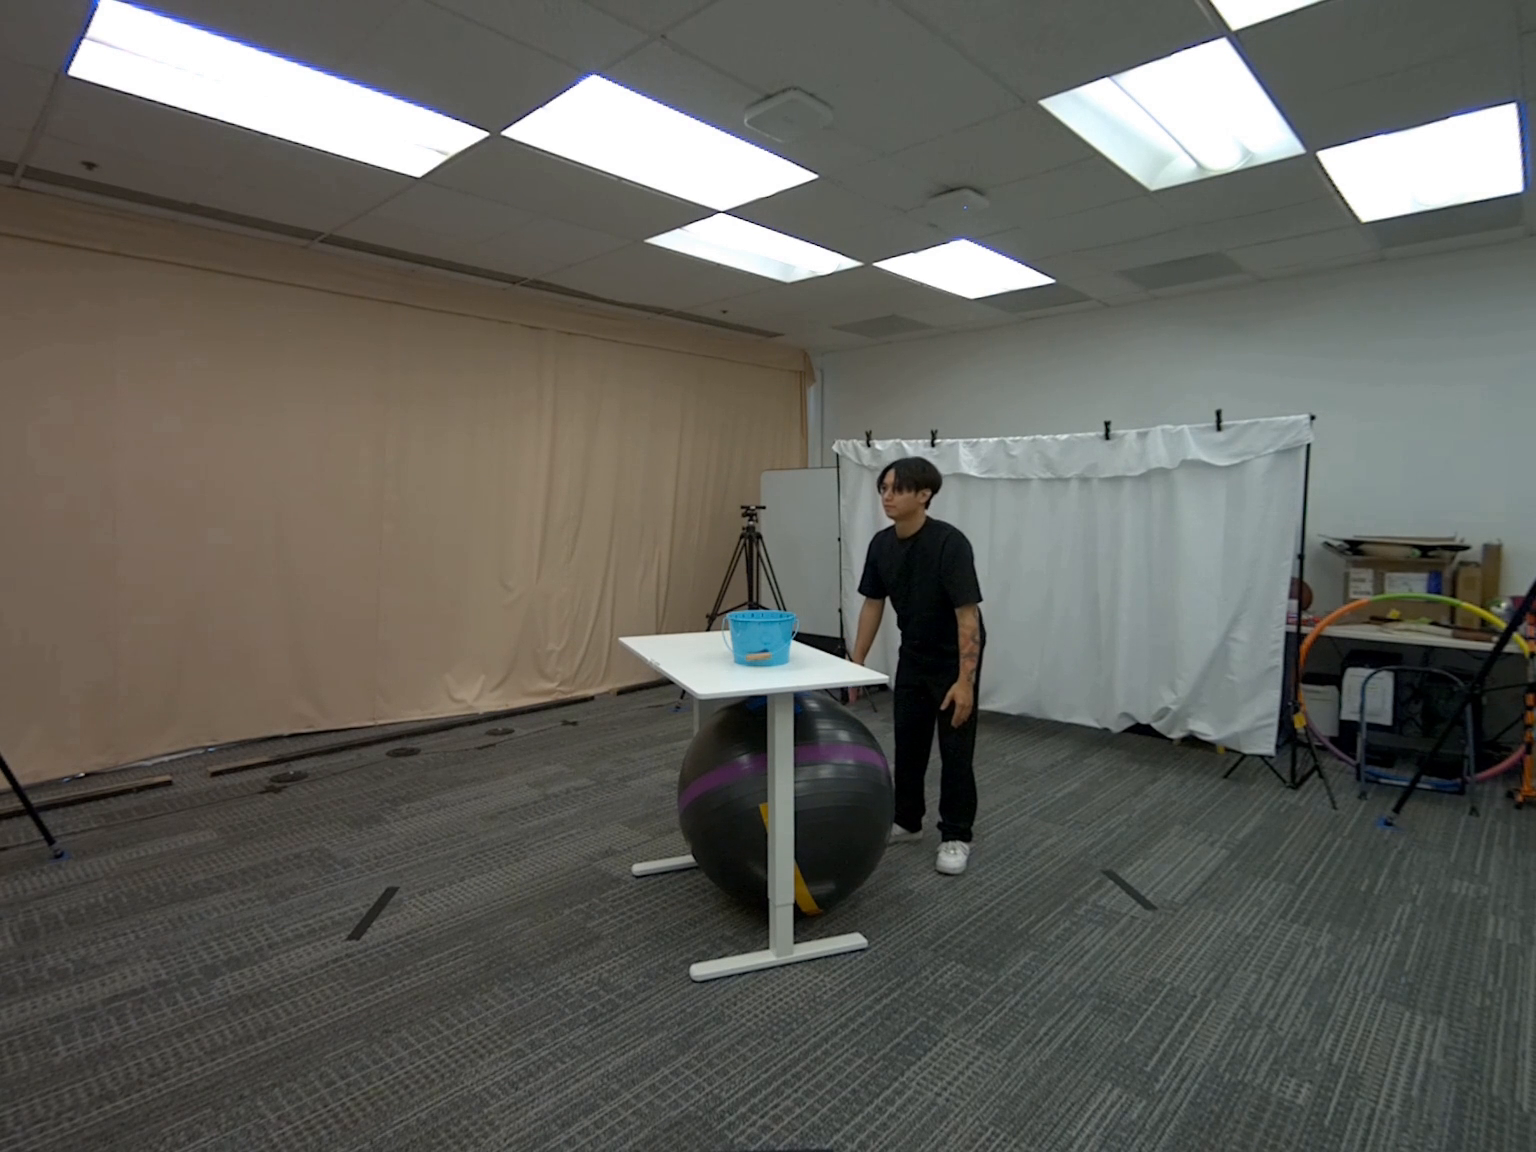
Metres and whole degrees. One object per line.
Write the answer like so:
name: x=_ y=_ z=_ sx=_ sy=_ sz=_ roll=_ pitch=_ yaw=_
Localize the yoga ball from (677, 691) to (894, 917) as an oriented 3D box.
yoga ball: x=0.058 y=0.786 z=2.954 sx=0.757 sy=0.756 sz=0.760 roll=0 pitch=4 yaw=-2
